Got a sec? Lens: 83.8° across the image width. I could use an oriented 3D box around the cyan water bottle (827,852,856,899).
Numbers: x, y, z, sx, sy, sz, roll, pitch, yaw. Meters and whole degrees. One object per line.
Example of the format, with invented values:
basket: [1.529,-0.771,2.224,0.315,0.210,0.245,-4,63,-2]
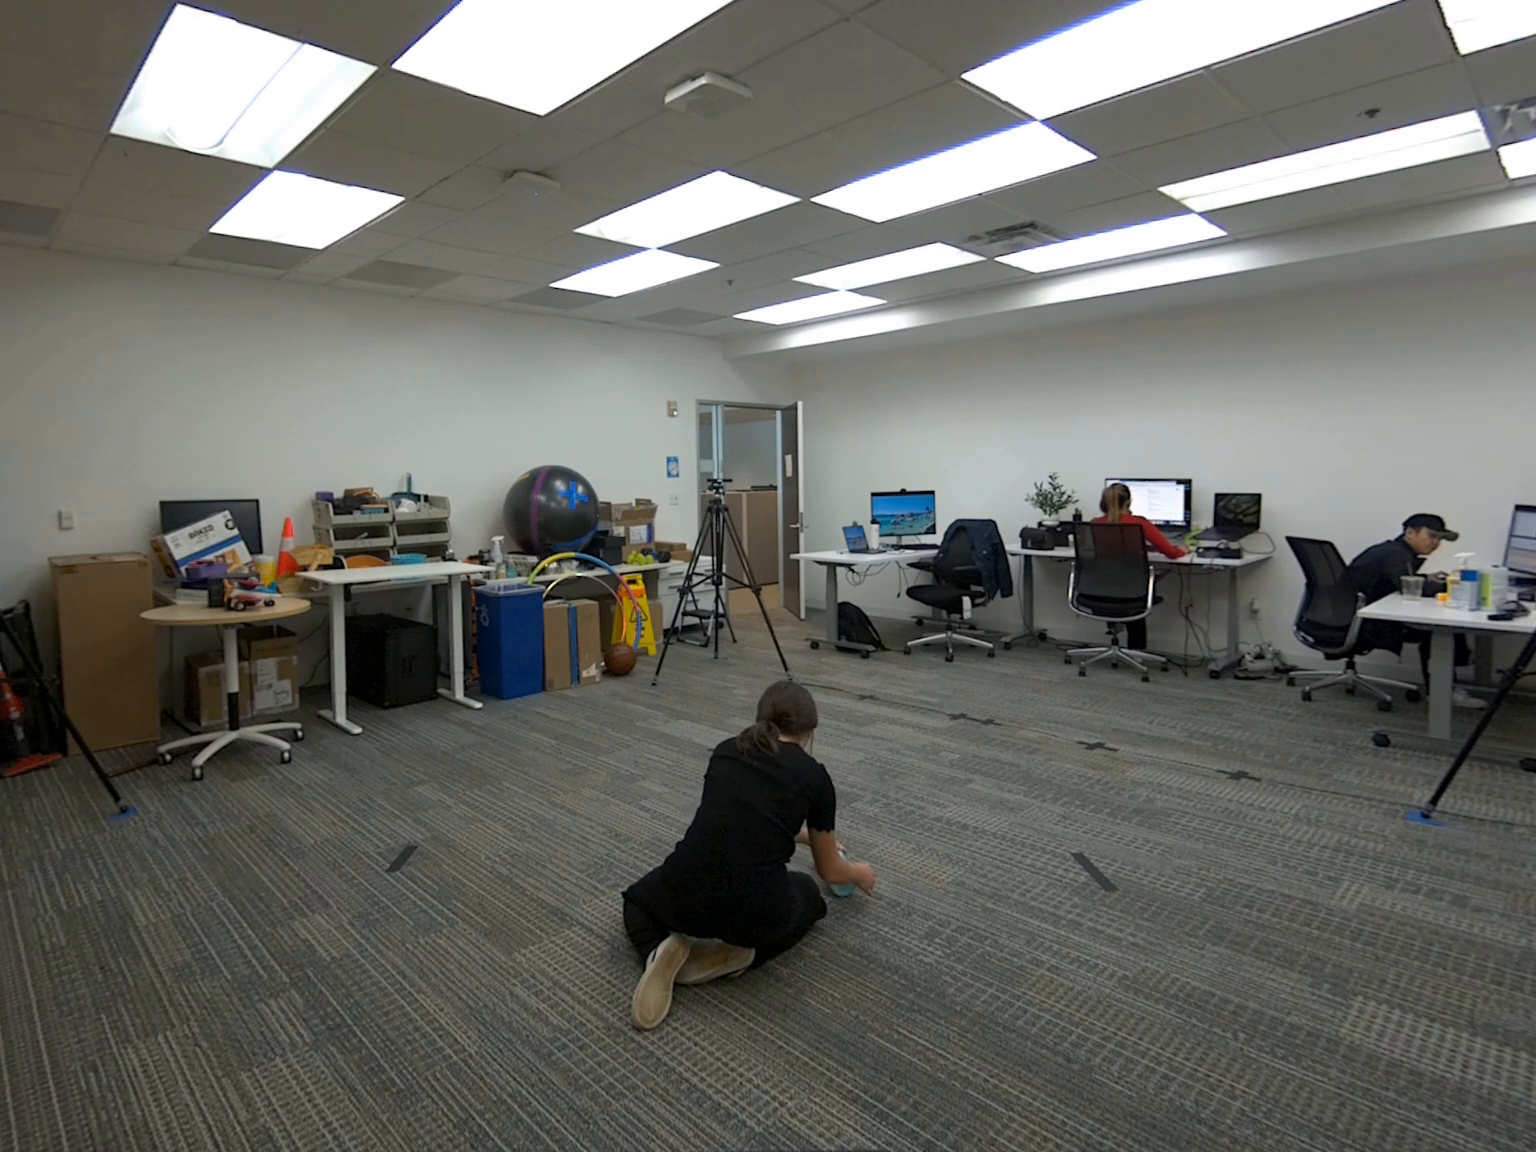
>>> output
cyan water bottle: [0.243,1.010,2.974,0.092,0.092,0.286,-1,6,-7]
